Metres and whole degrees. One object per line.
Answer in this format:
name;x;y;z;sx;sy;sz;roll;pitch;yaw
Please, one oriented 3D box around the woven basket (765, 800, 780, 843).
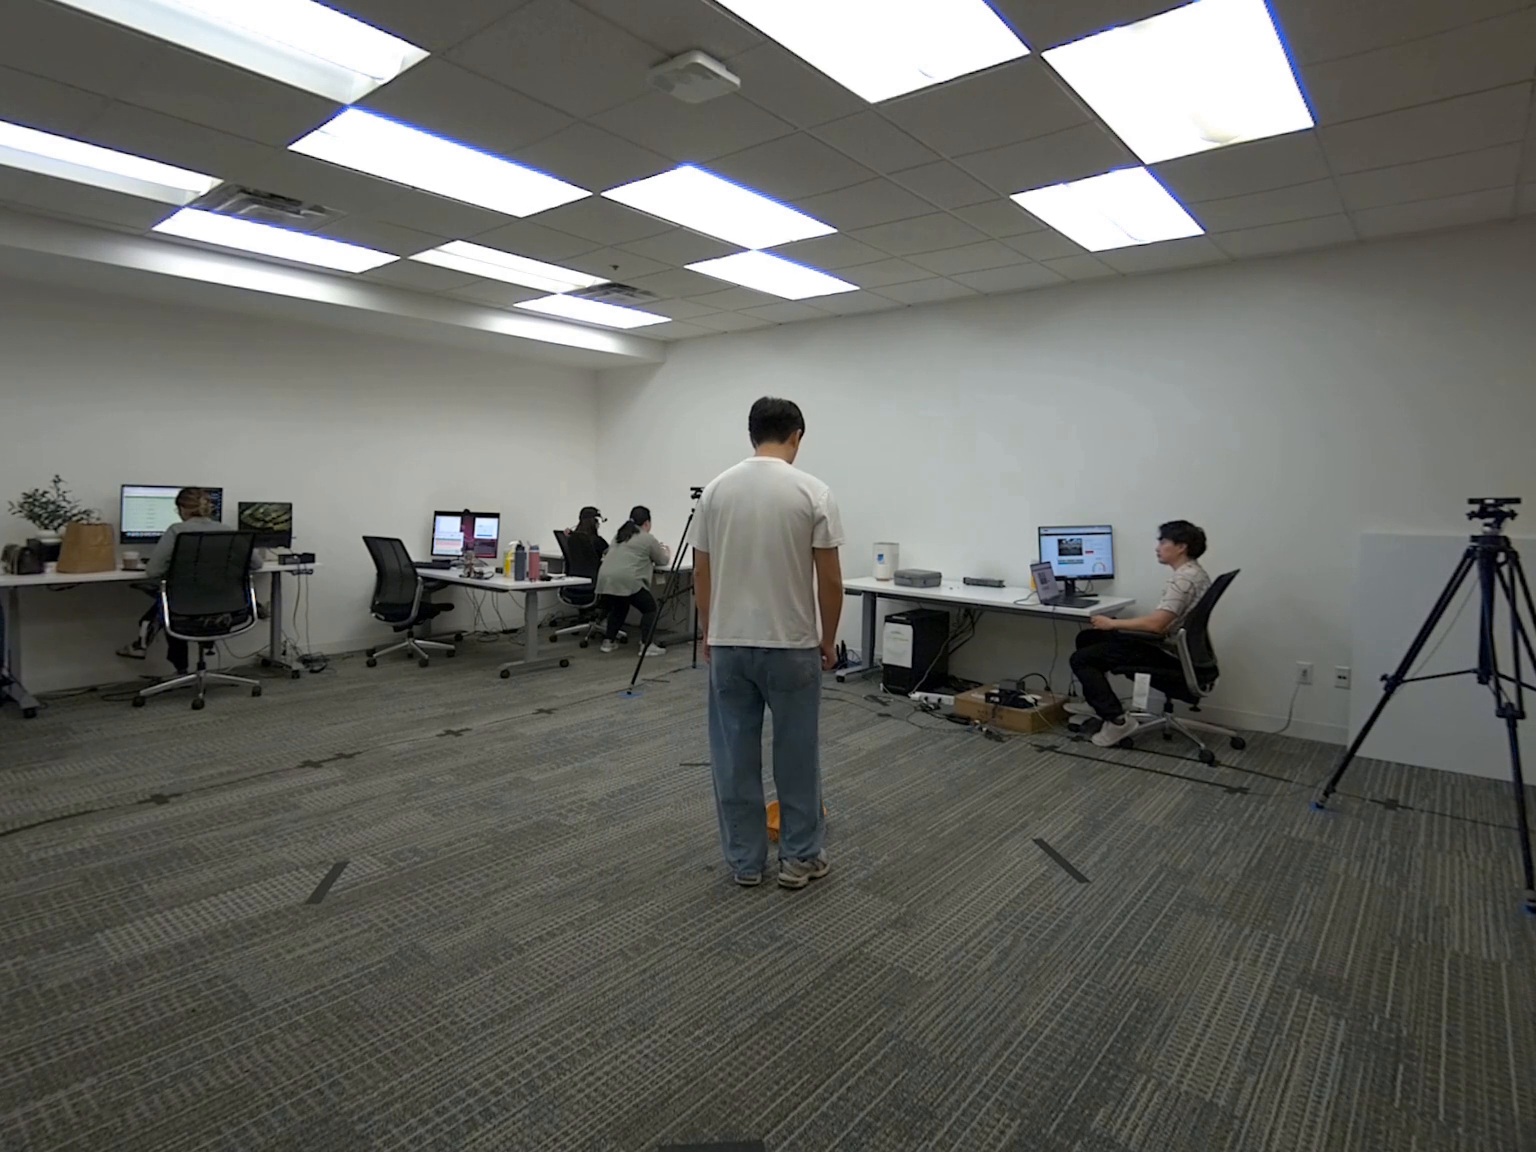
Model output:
woven basket;0.086;0.992;3.477;0.259;0.073;0.343;3;7;23
